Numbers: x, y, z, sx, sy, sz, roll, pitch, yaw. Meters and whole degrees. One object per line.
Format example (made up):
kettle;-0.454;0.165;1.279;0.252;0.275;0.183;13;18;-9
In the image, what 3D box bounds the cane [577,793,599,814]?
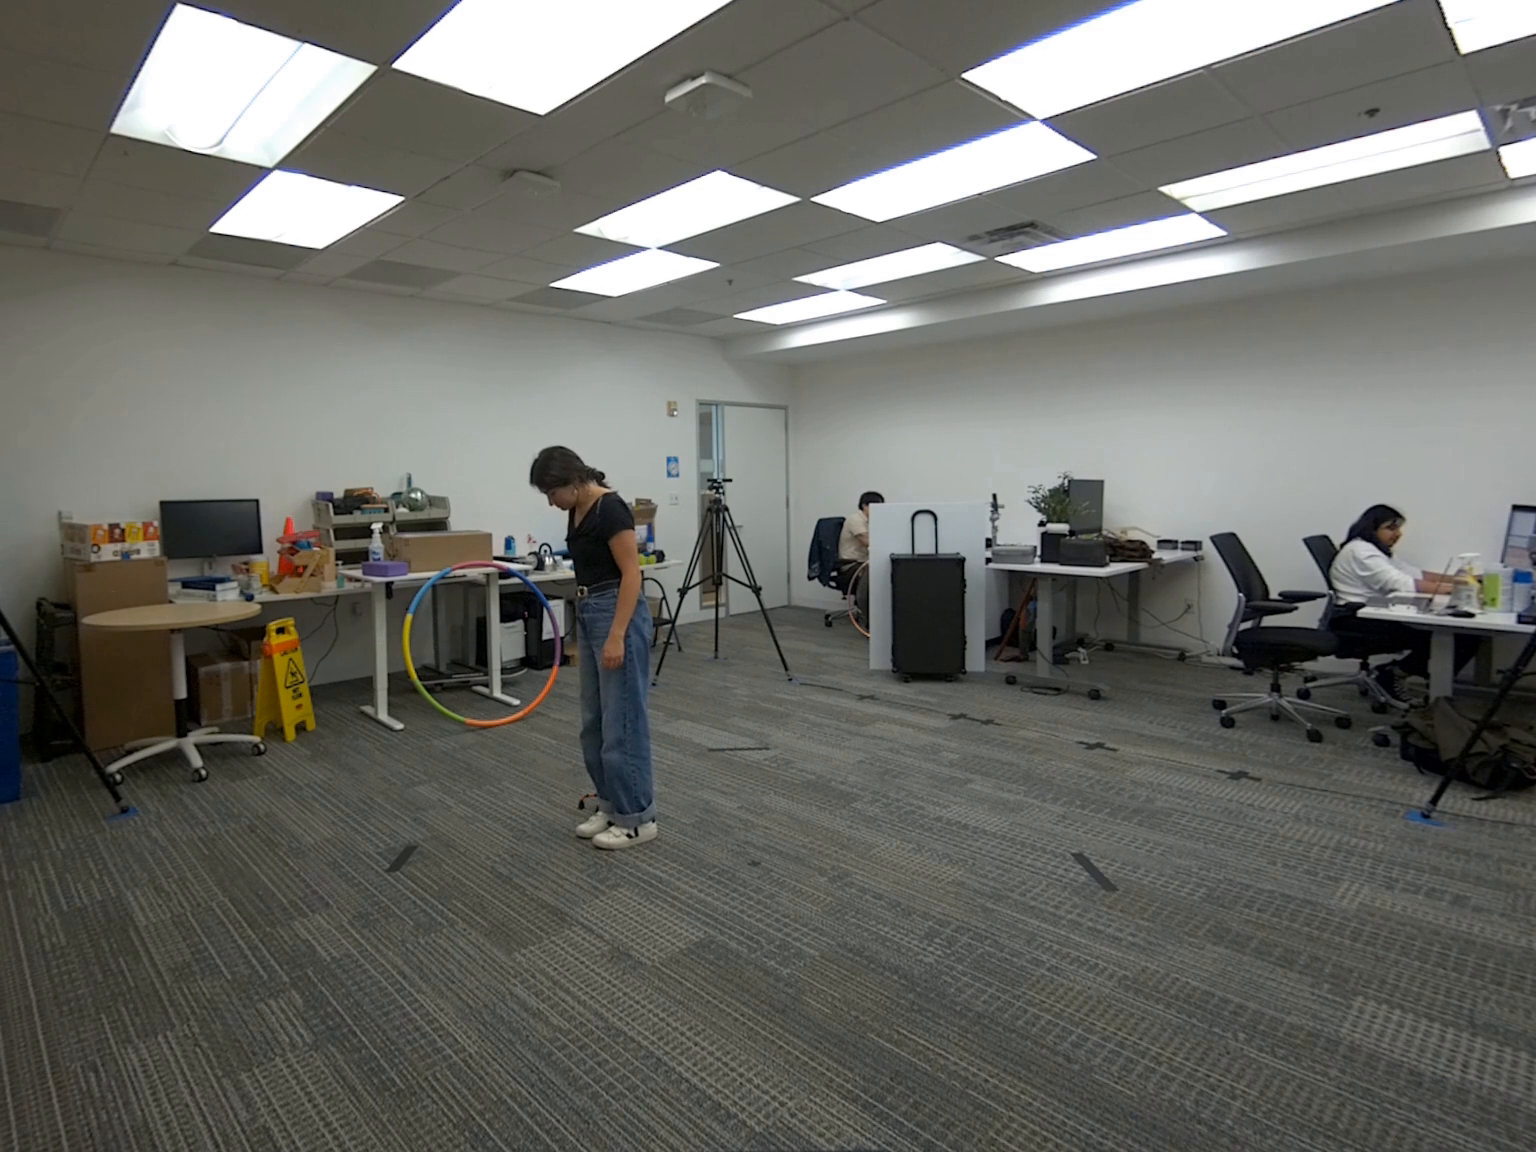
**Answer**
cane;-0.703;0.545;3.674;0.156;0.905;0.201;2;4;42
